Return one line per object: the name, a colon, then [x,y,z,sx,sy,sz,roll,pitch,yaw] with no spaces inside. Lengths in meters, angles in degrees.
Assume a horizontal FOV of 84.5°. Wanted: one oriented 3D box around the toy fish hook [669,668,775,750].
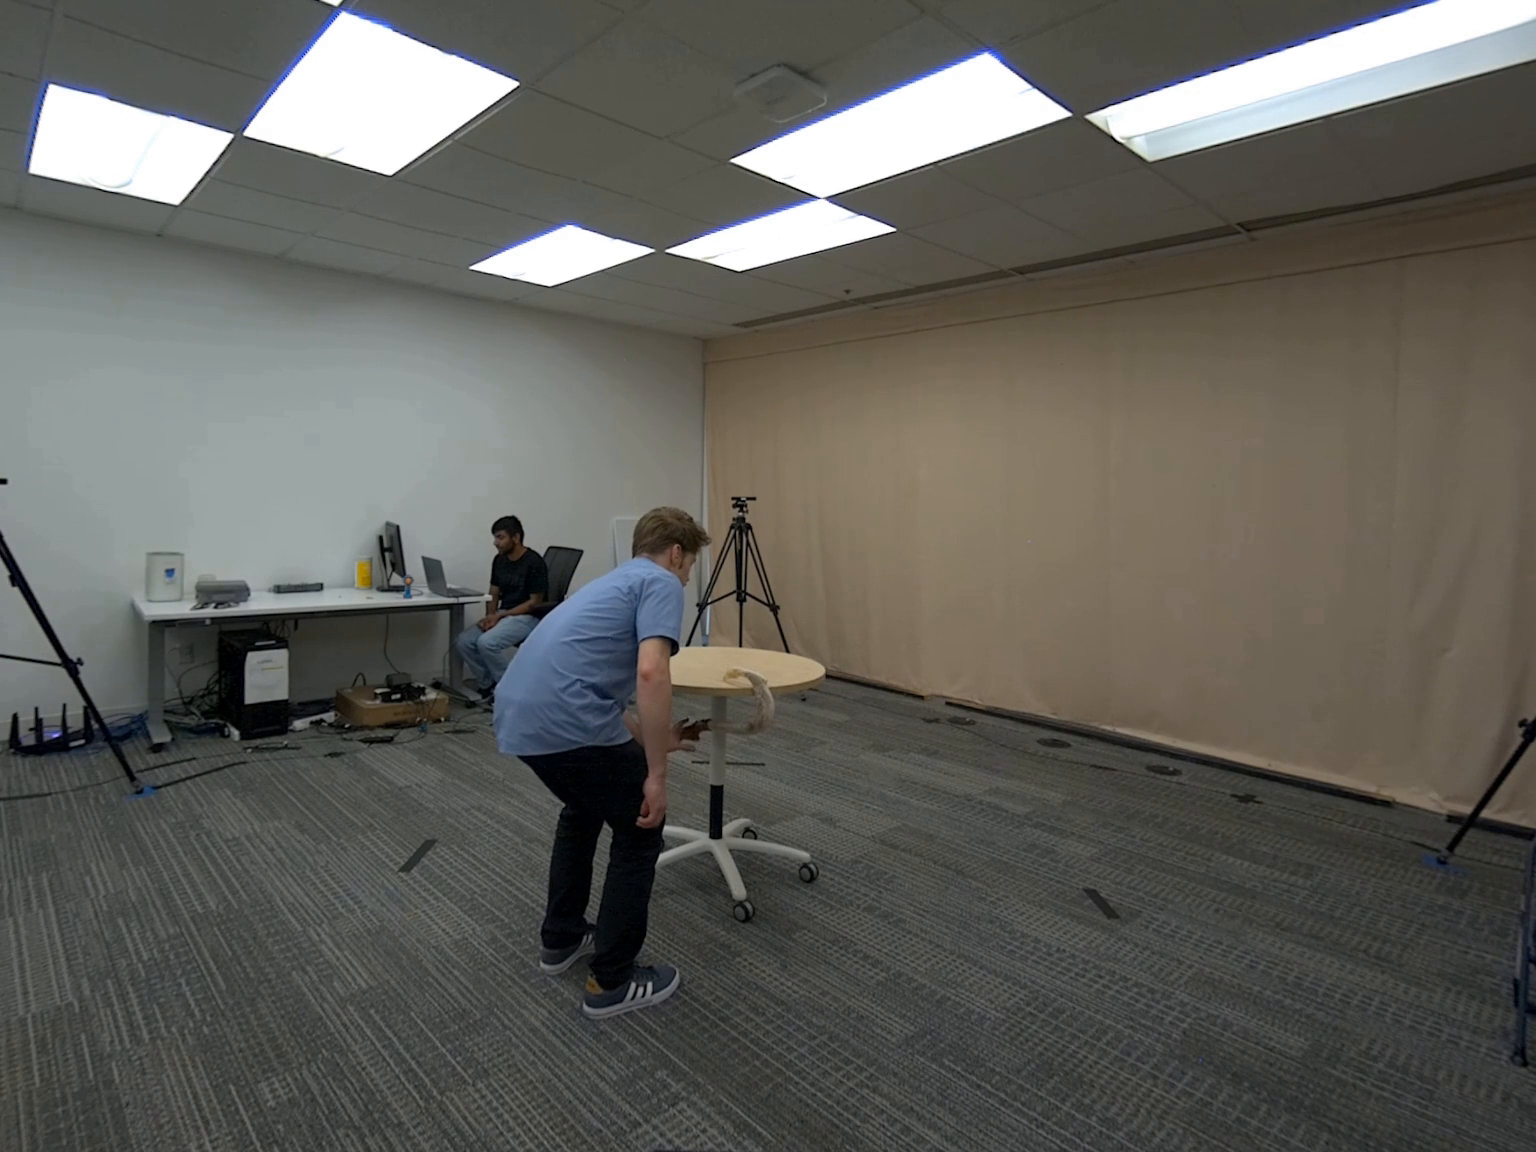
toy fish hook: [-0.172,0.447,2.821,0.047,0.228,0.513,9,-23,-41]
